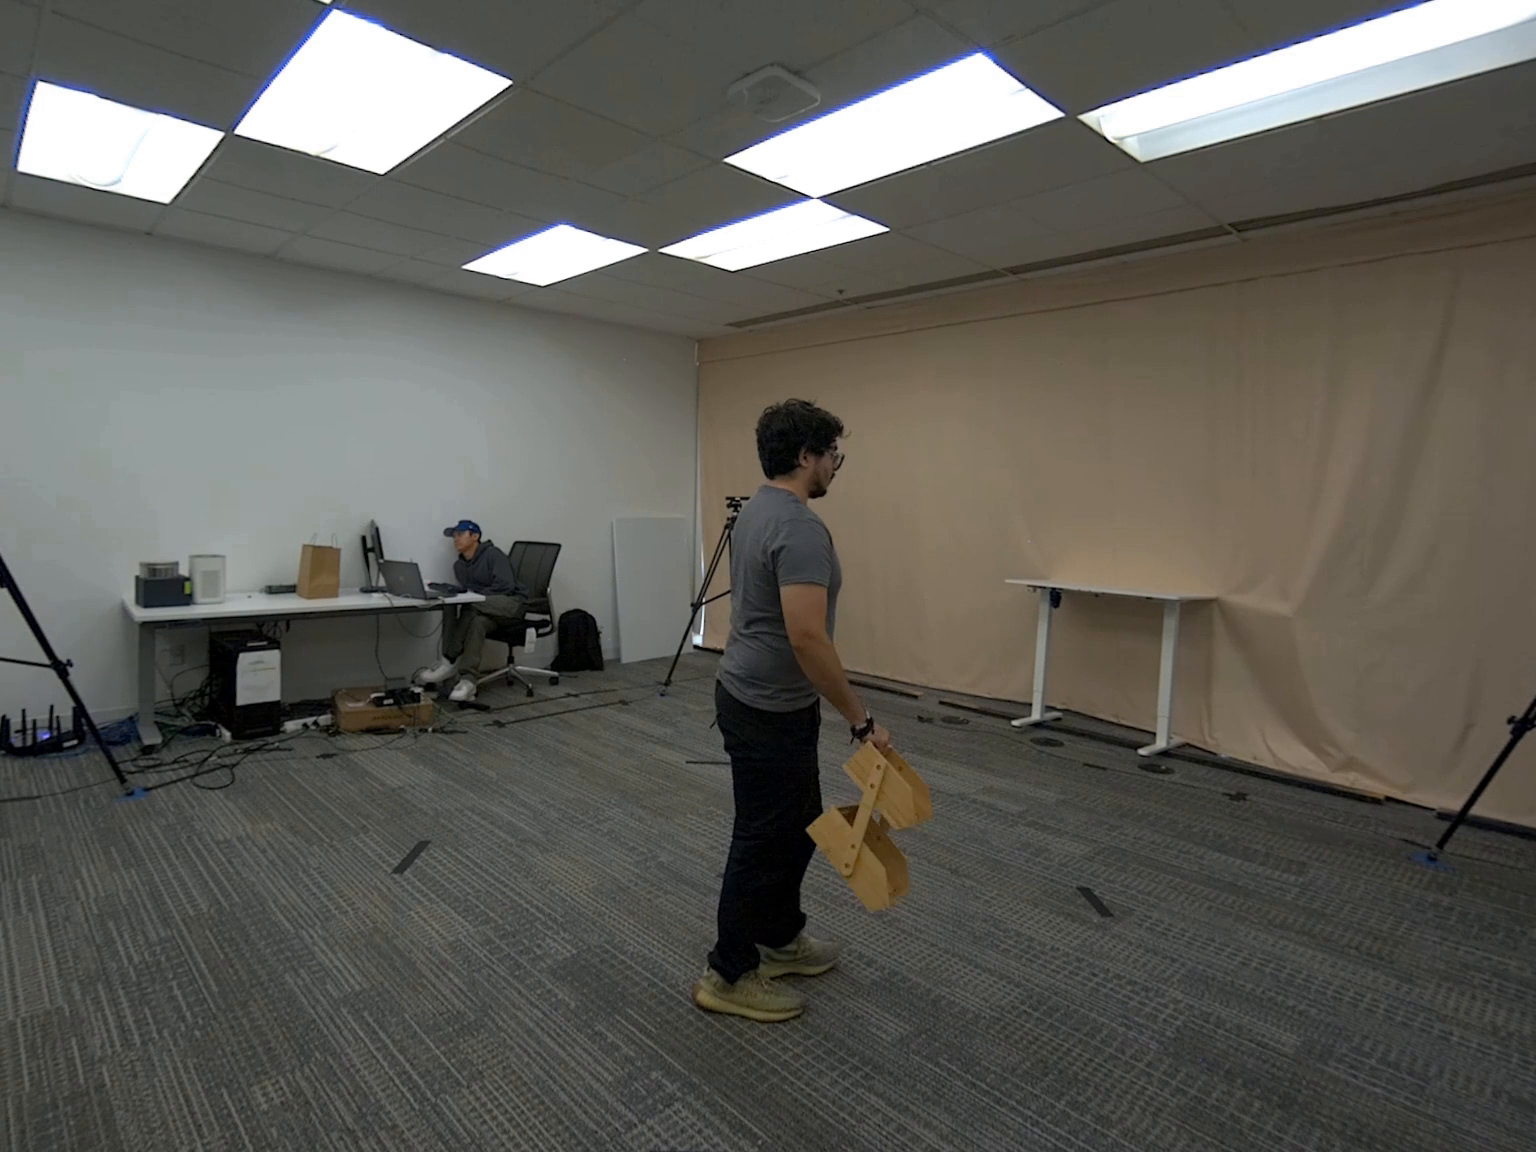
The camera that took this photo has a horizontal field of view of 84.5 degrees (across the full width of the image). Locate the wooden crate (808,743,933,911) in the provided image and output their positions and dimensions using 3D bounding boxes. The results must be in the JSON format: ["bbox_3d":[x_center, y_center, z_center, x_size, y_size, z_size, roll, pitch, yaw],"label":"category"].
[{"bbox_3d":[0.293,0.621,2.110,0.309,0.273,0.317,47,5,22],"label":"wooden crate"}]
